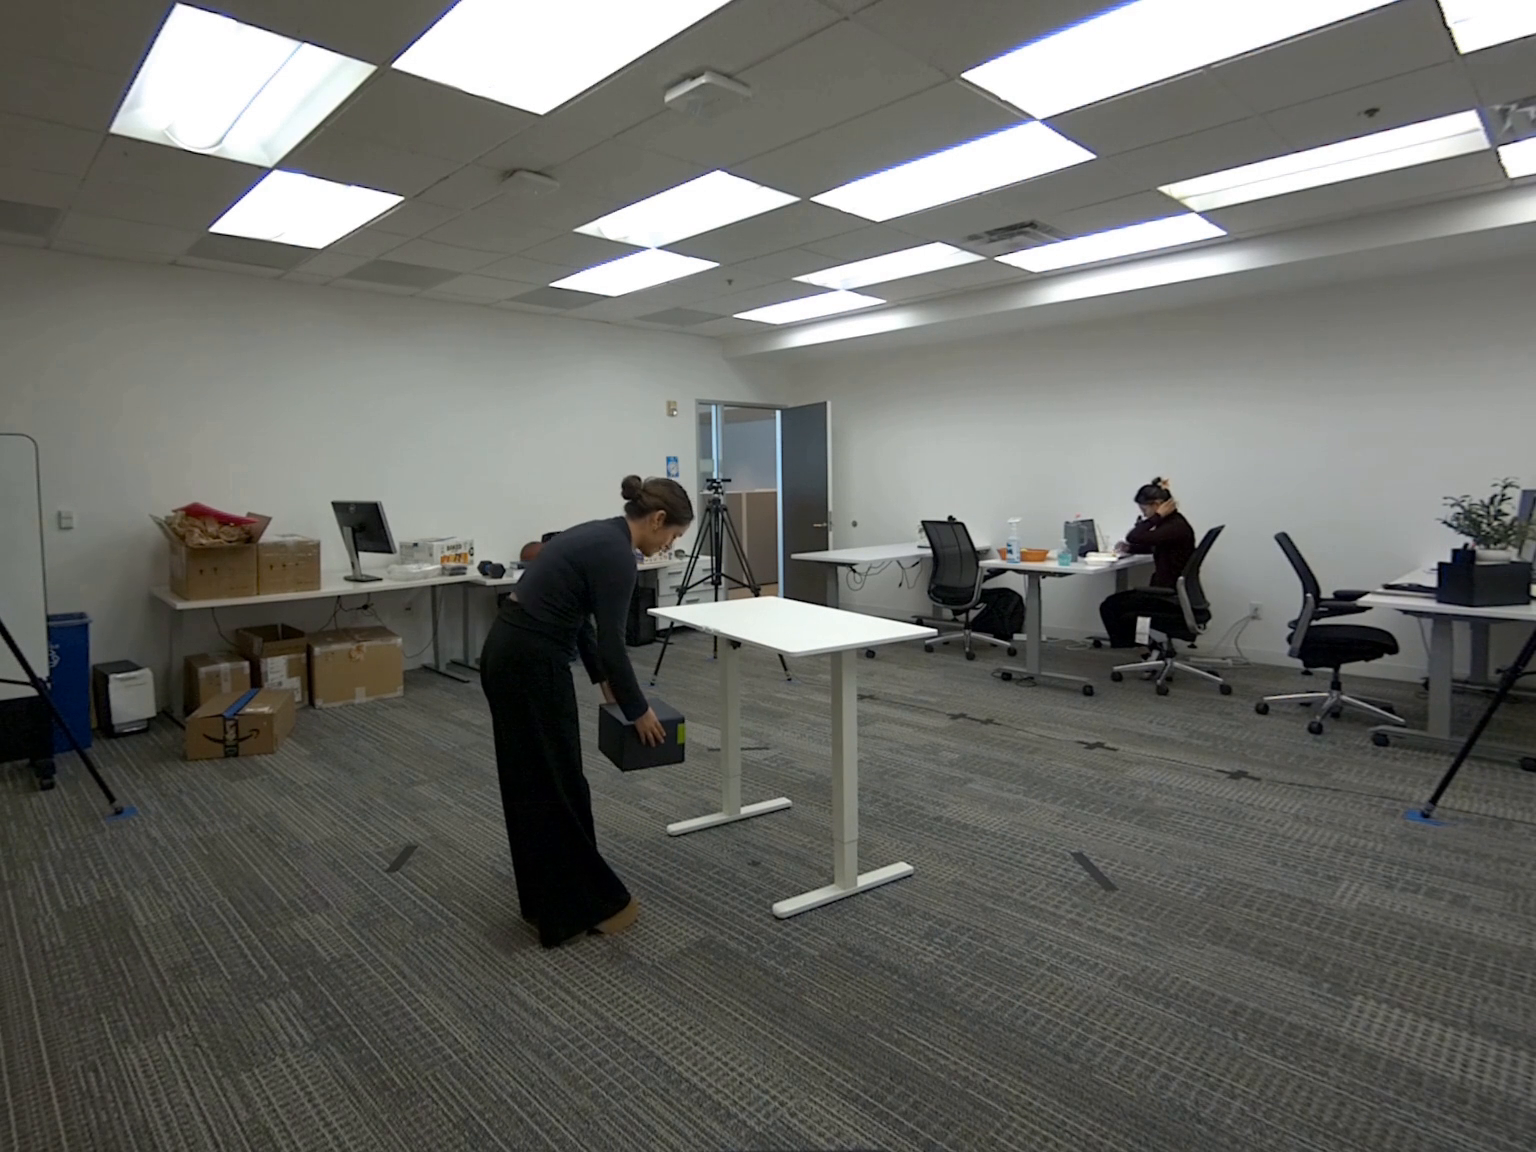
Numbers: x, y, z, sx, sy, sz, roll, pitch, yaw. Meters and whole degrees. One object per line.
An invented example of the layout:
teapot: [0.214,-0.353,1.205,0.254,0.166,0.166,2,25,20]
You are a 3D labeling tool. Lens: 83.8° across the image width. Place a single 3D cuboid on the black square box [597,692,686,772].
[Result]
black square box: [-0.423,0.518,2.802,0.212,0.155,0.235,-3,9,-30]
